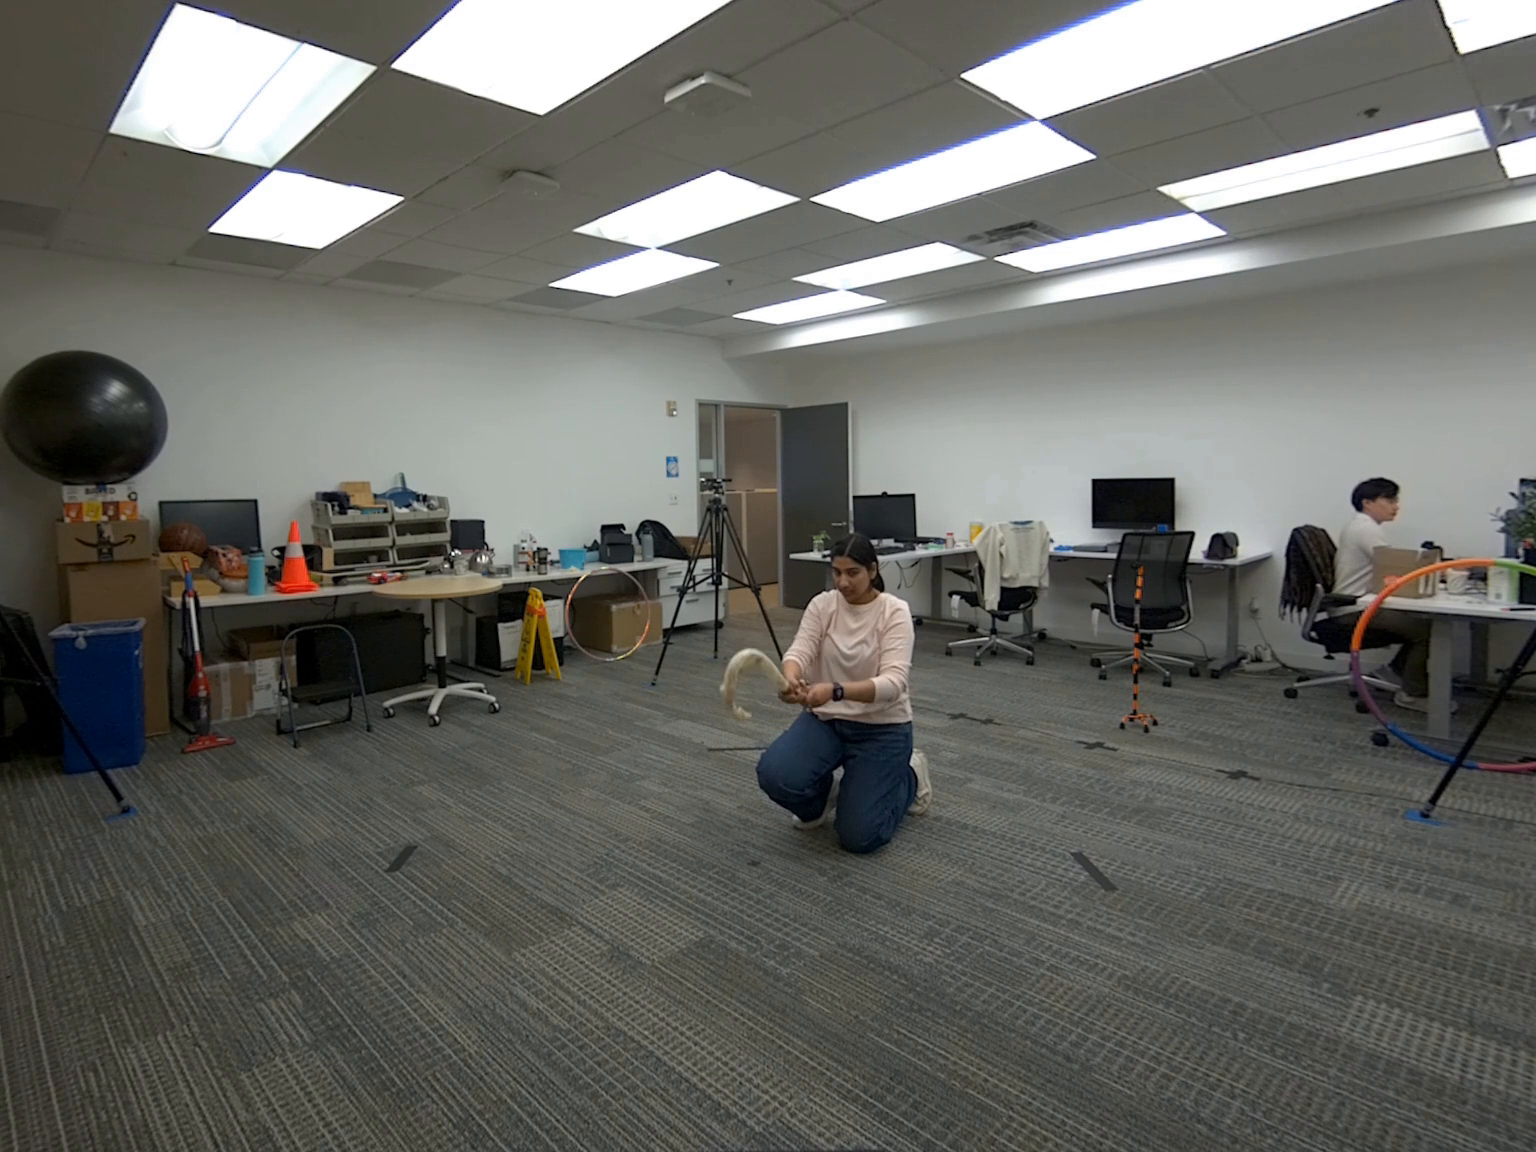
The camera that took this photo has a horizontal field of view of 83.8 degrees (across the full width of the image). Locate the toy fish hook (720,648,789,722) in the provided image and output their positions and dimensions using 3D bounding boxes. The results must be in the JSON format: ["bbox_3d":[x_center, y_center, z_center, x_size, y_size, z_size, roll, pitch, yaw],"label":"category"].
[{"bbox_3d":[0.010,0.379,2.798,0.050,0.225,0.487,16,-11,42],"label":"toy fish hook"}]
